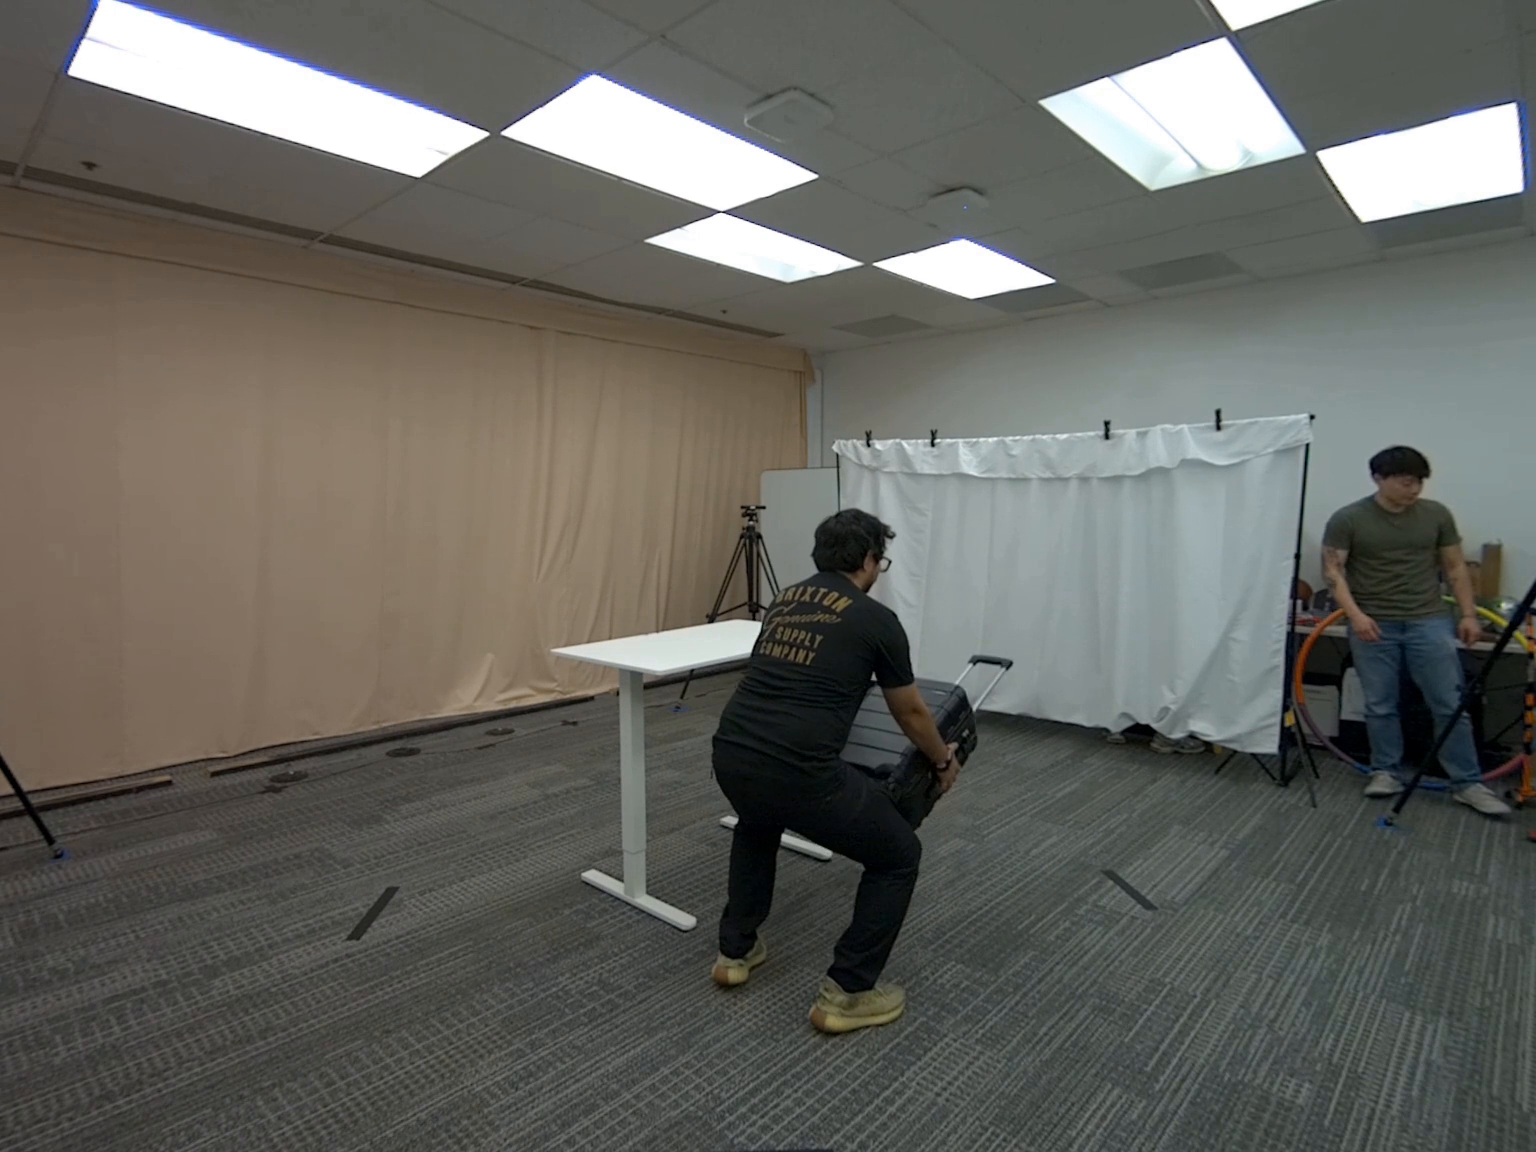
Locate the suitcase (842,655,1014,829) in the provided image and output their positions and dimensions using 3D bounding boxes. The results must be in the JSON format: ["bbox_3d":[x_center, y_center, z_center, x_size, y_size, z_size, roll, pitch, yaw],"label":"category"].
[{"bbox_3d":[0.554,0.472,2.849,0.397,0.252,0.965,5,33,45],"label":"suitcase"}]
